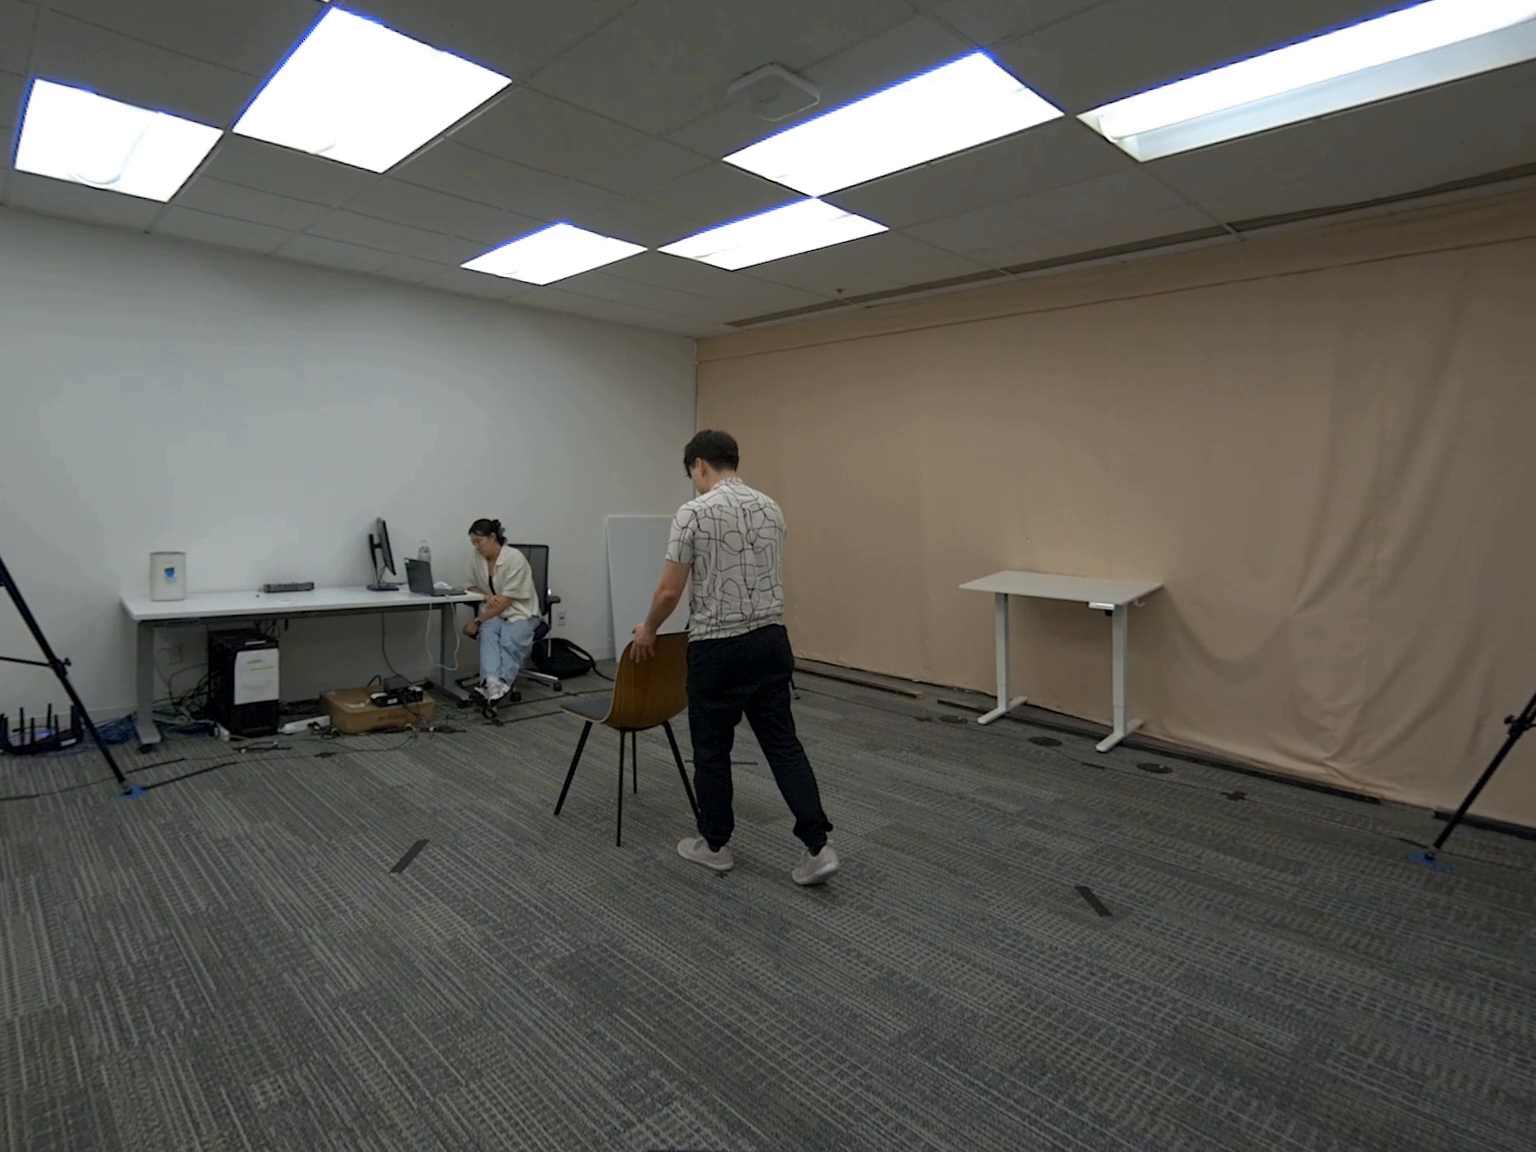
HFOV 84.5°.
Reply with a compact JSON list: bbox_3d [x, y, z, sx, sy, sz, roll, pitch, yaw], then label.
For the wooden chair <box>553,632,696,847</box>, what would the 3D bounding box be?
[{"bbox_3d":[-0.609,0.619,3.622,0.537,0.873,0.467,11,9,43],"label":"wooden chair"}]
